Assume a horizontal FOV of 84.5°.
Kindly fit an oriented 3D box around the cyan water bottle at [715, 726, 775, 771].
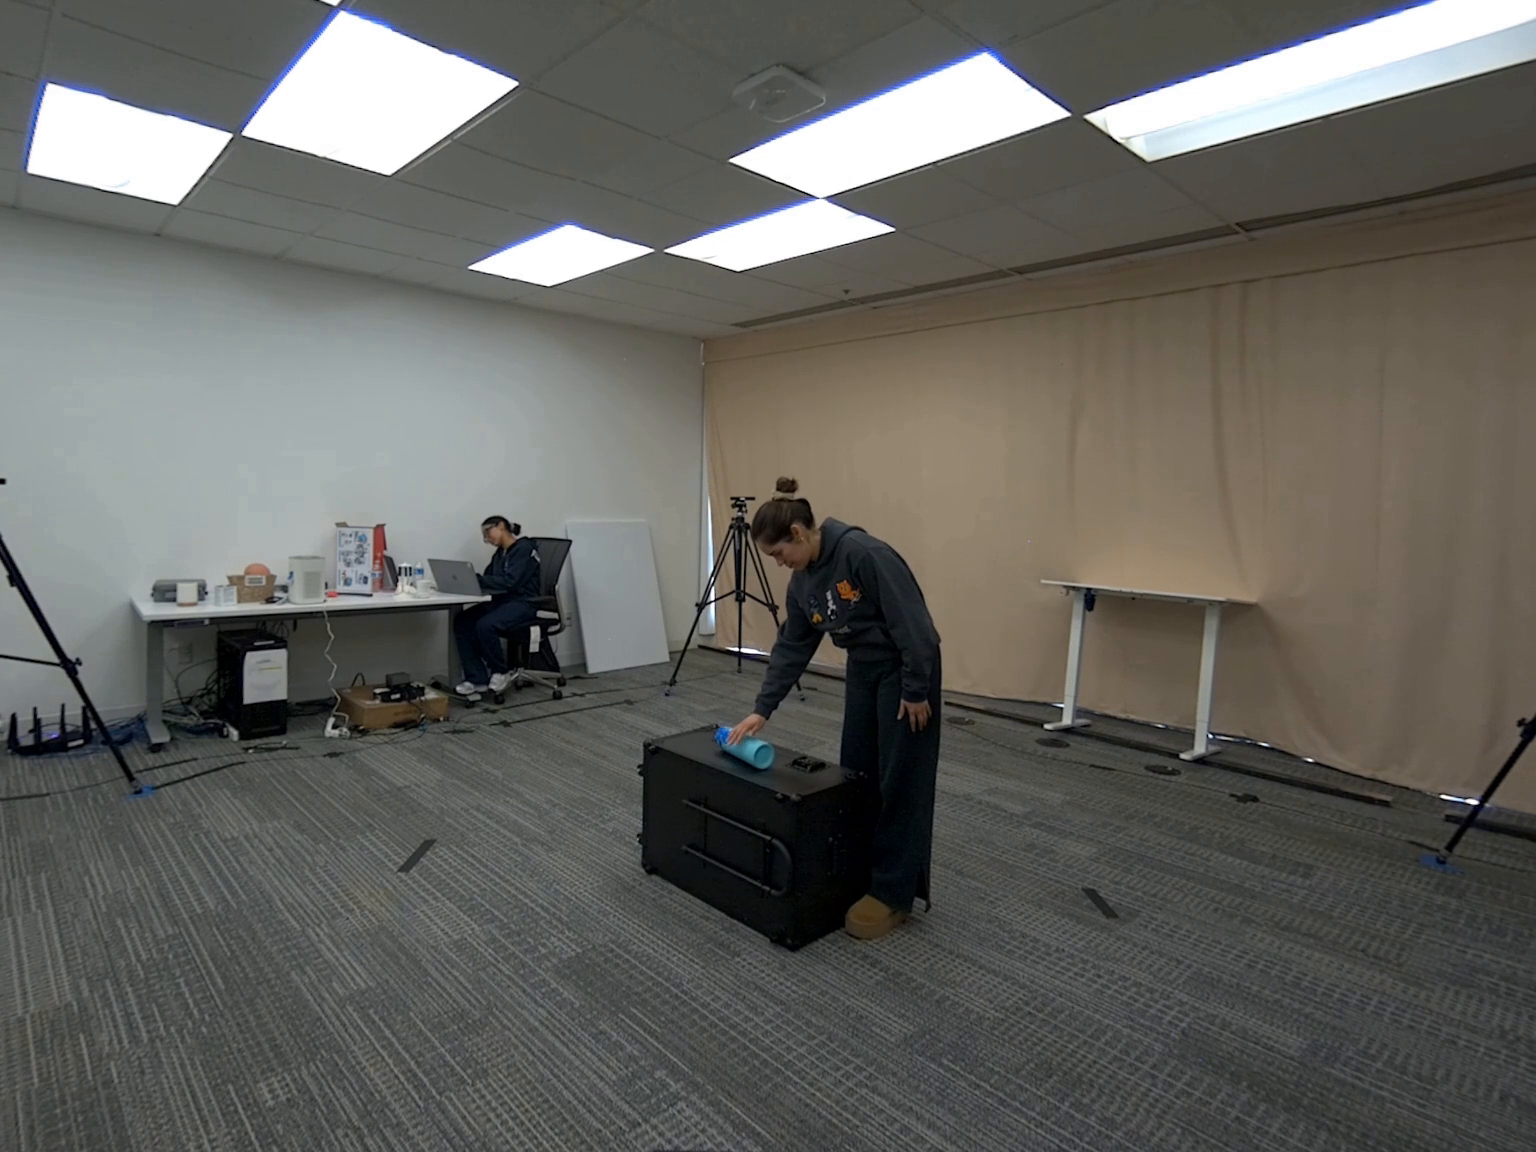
[{"bbox_3d":[-0.093,0.586,2.962,0.090,0.092,0.290,-2,6,-33],"label":"cyan water bottle"}]
